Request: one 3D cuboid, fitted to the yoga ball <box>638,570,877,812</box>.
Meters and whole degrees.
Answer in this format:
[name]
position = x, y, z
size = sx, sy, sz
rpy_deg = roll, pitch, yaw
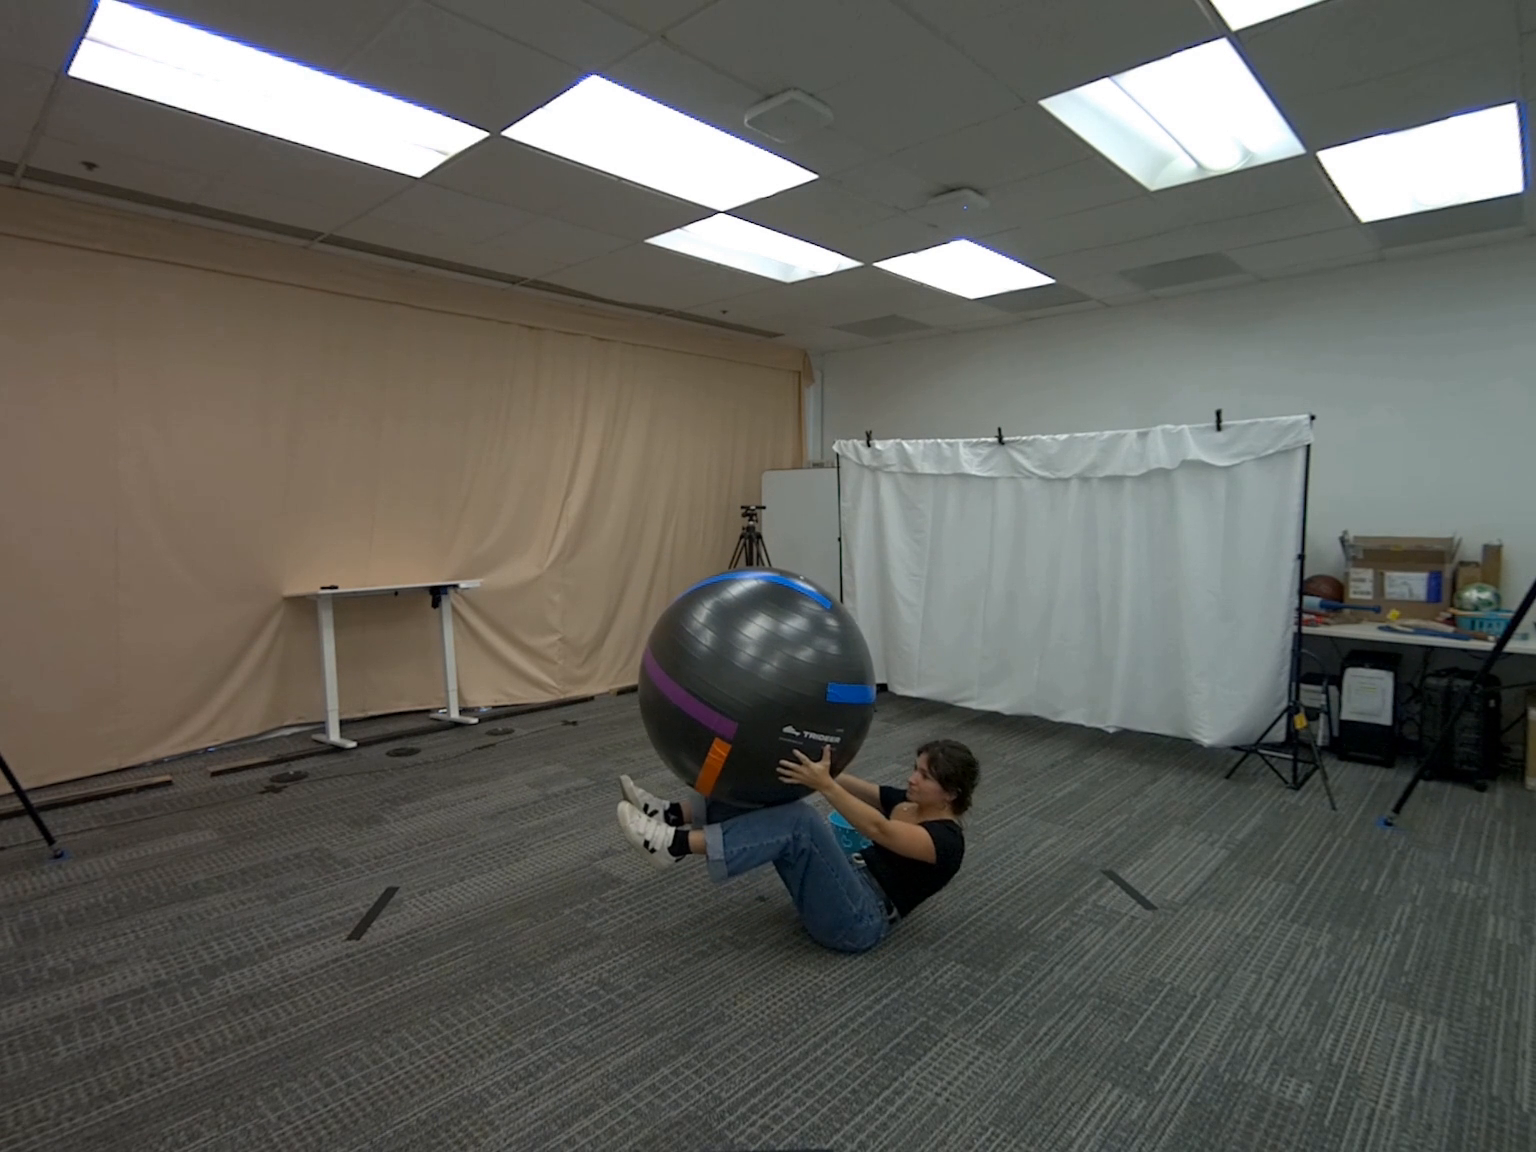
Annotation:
[yoga ball]
position = -0.029, 0.356, 2.692
size = 0.757, 0.756, 0.761
rpy_deg = 0, 4, -2
